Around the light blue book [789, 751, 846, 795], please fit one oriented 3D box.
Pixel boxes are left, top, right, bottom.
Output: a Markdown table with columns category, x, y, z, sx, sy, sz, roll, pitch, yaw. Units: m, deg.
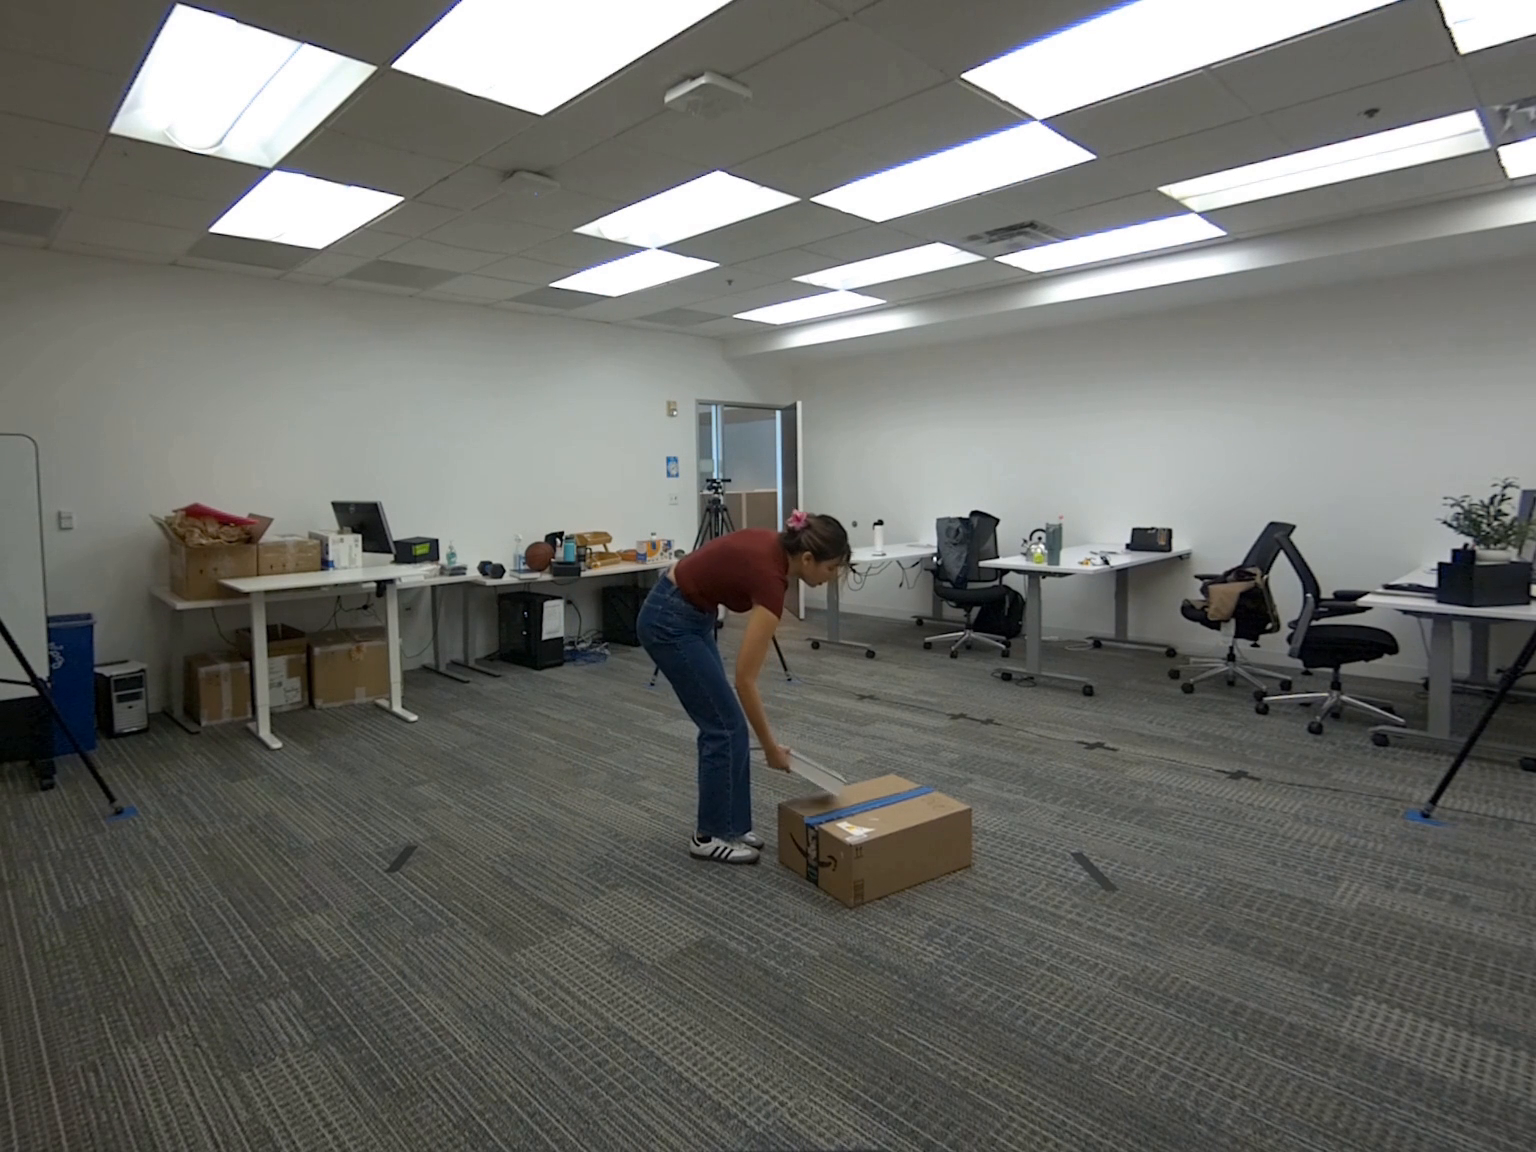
| category | x | y | z | sx | sy | sz | roll | pitch | yaw |
| --- | --- | --- | --- | --- | --- | --- | --- | --- | --- |
| light blue book | 0.151 | 0.694 | 3.121 | 0.263 | 0.059 | 0.190 | 26 | -5 | 5 |
